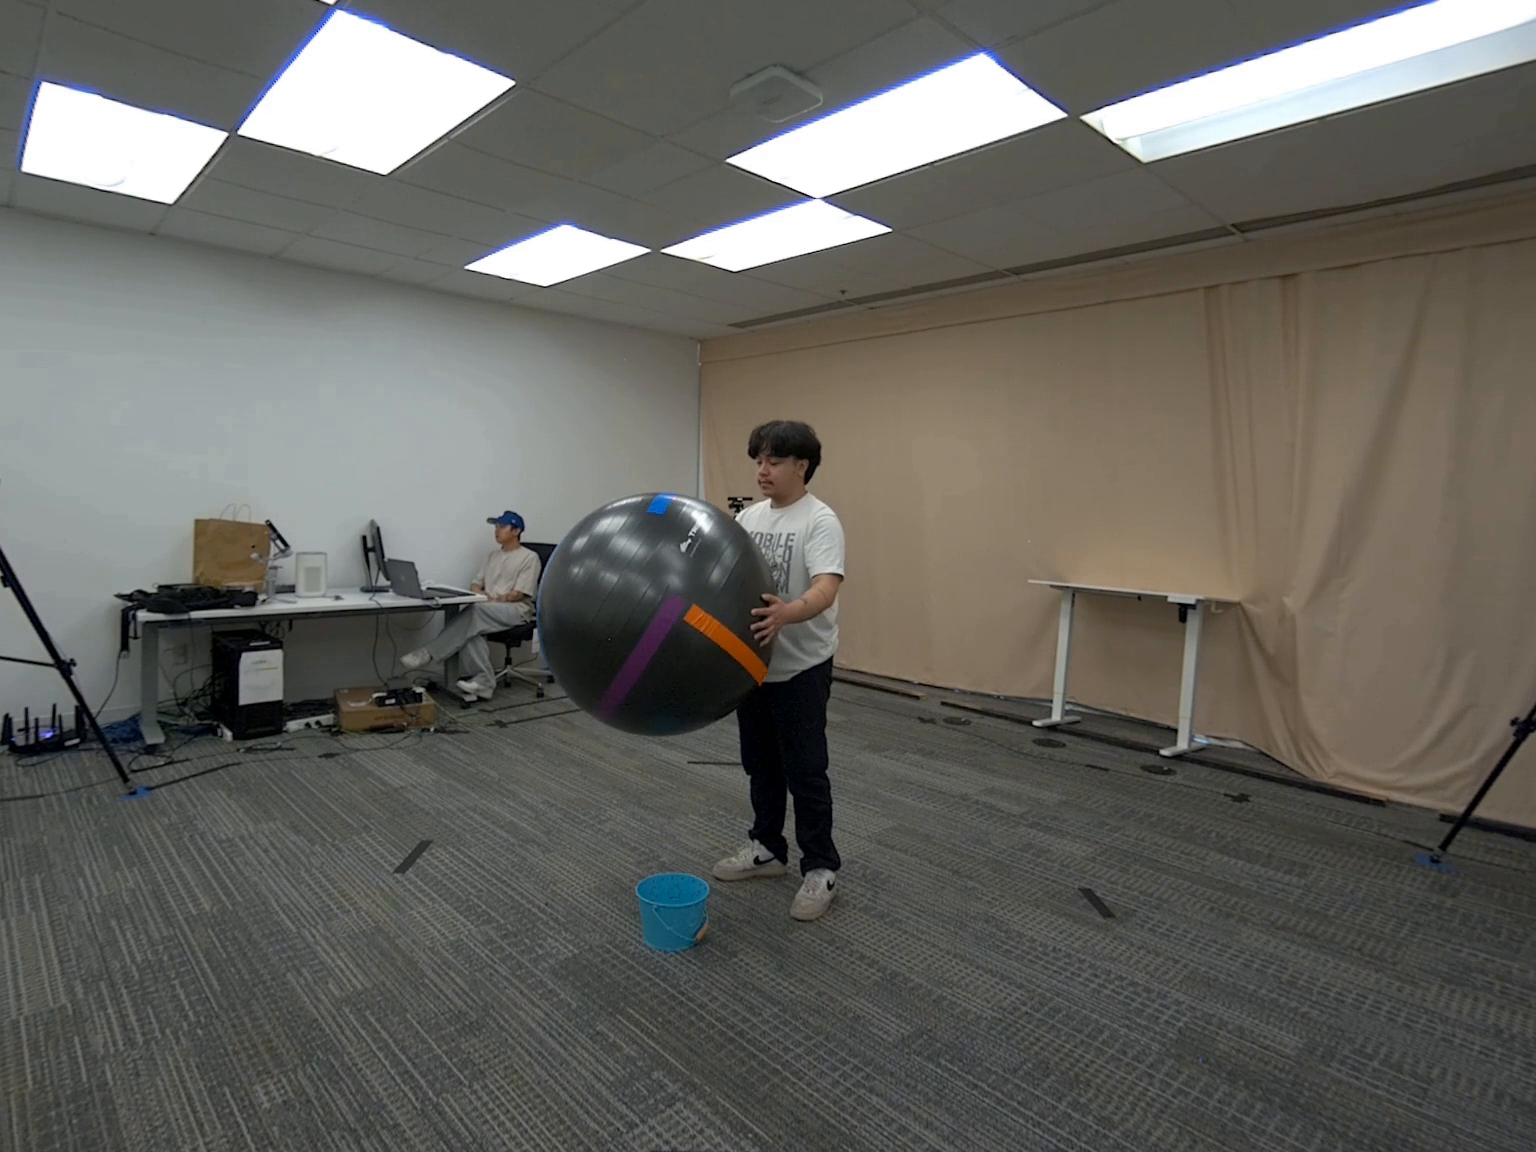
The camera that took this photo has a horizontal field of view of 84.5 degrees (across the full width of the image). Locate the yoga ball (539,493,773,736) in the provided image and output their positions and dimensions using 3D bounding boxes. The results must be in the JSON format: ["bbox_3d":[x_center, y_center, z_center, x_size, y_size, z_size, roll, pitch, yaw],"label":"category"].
[{"bbox_3d":[-0.347,0.114,2.637,0.757,0.756,0.760,1,4,-1],"label":"yoga ball"}]
